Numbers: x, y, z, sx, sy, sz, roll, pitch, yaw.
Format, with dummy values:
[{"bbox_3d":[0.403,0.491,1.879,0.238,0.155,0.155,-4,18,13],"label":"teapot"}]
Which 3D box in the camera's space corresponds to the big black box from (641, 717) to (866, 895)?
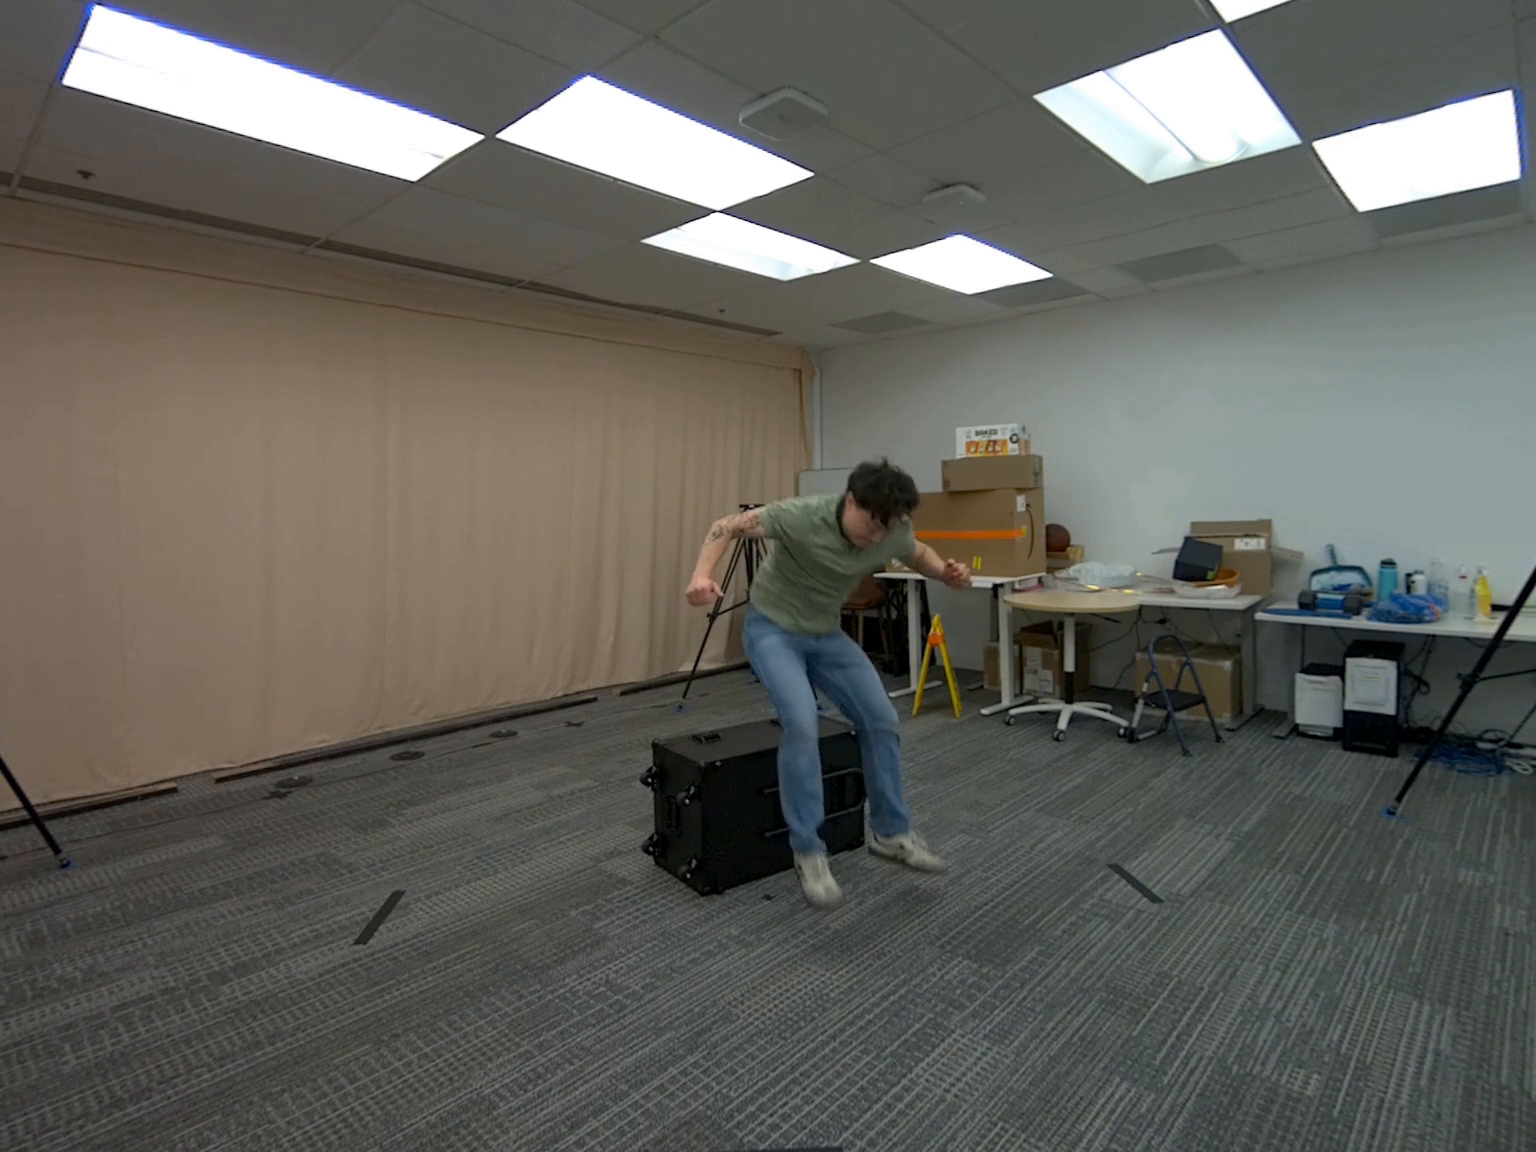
[{"bbox_3d":[-0.047,0.870,3.309,0.837,0.520,0.408,-4,5,-34],"label":"big black box"}]
